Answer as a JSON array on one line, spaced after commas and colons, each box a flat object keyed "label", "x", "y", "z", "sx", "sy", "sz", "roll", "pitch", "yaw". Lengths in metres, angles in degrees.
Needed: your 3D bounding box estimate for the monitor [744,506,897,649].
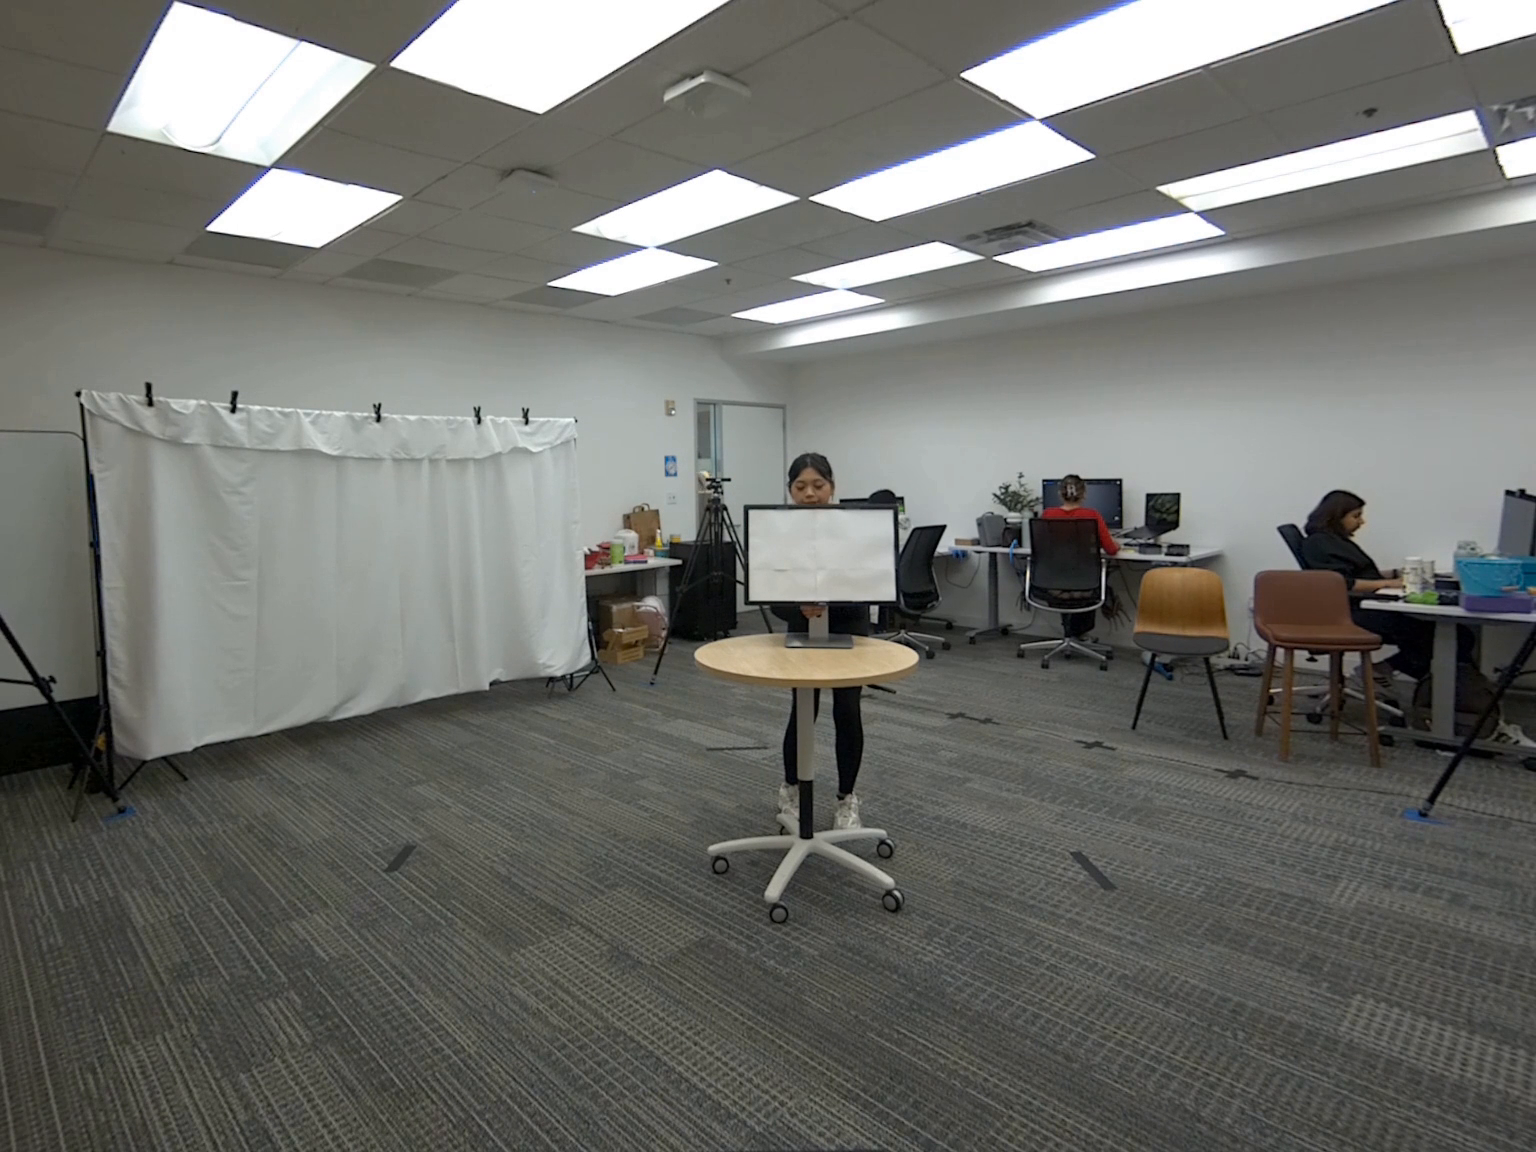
[{"label": "monitor", "x": 0.178, "y": 0.003, "z": 3.114, "sx": 0.538, "sy": 0.520, "sz": 0.188, "roll": 0, "pitch": 4, "yaw": -2}]
